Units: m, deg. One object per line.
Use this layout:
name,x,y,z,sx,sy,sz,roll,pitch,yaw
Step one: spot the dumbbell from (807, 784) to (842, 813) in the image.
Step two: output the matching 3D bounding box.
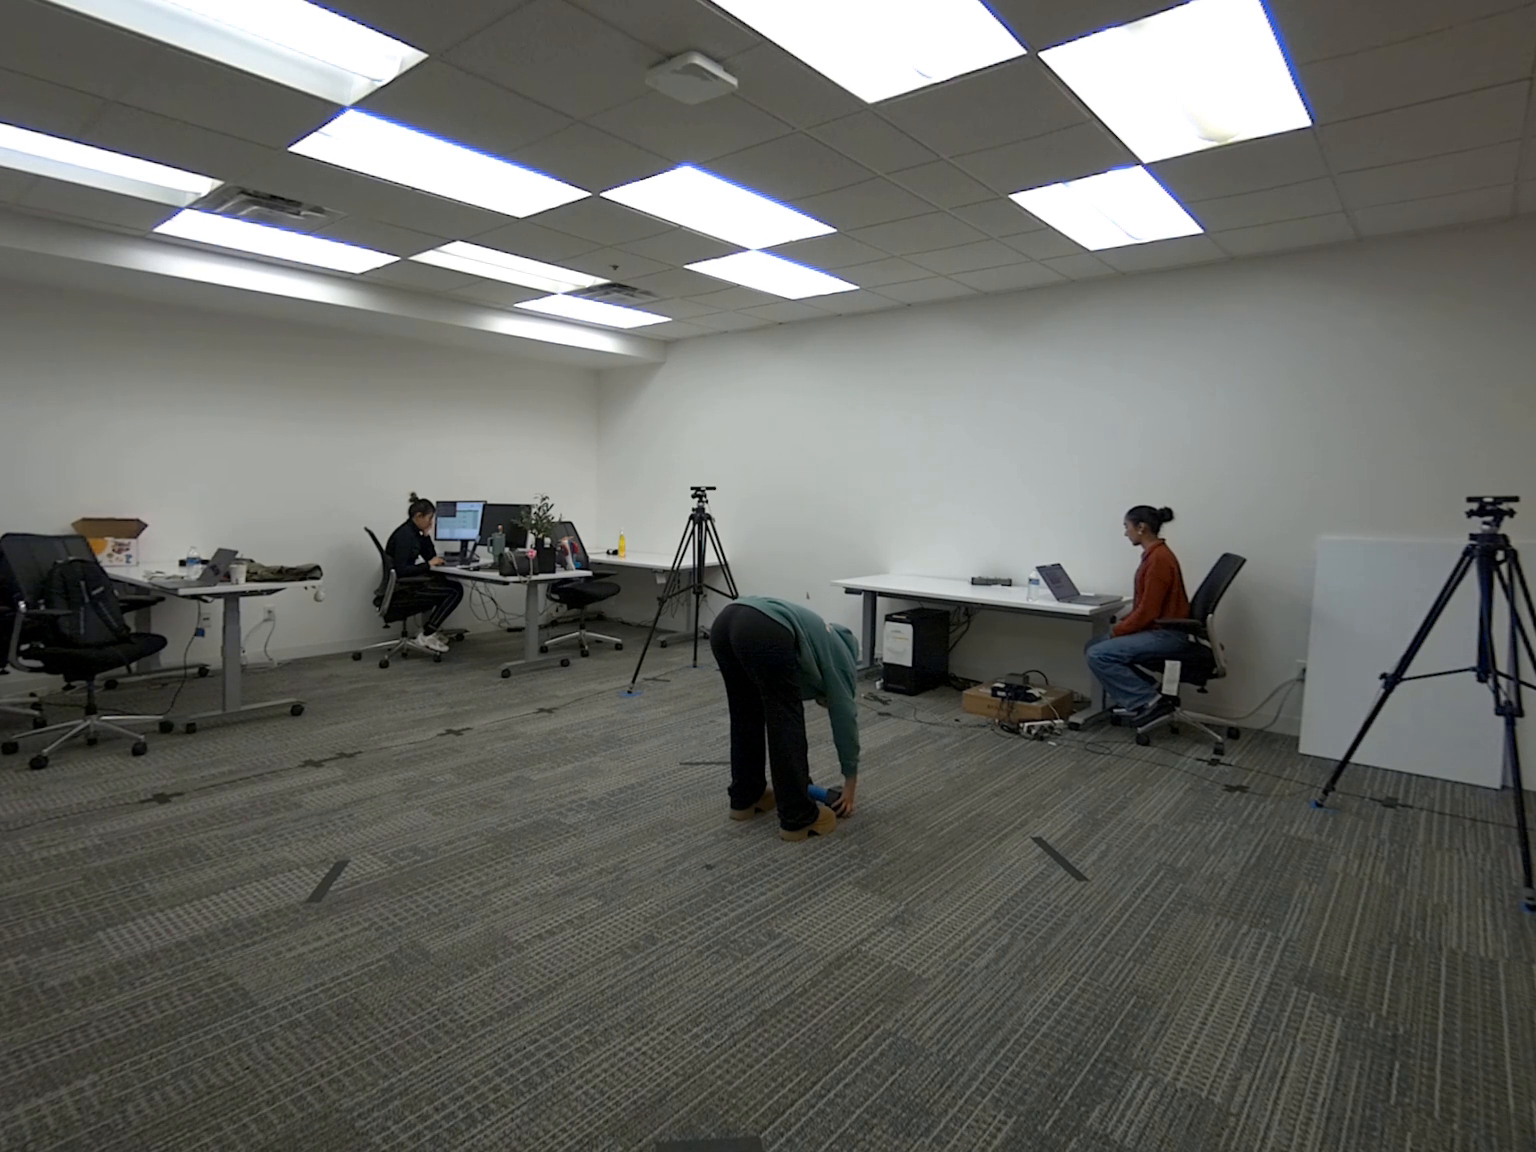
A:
dumbbell,0.215,0.958,3.745,0.304,0.124,0.104,6,-26,44
